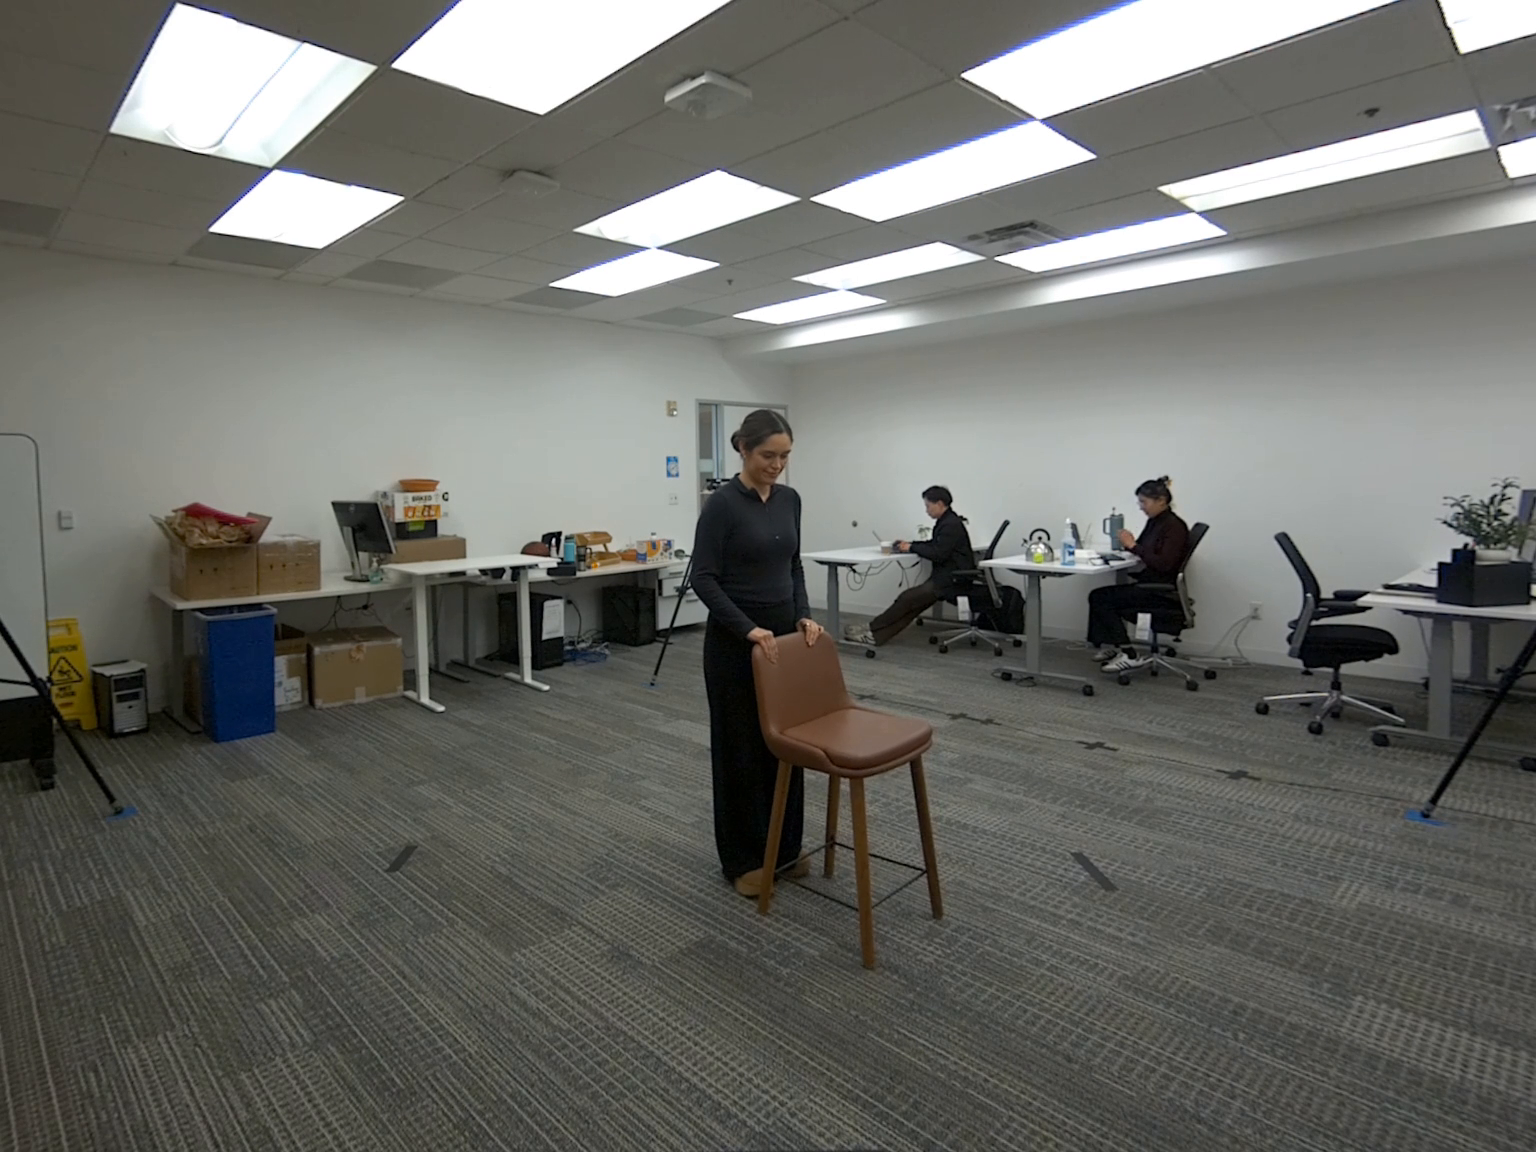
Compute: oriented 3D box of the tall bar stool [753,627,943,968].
[{"bbox_3d":[0.242,0.645,2.698,0.481,0.888,0.444,0,4,44],"label":"tall bar stool"}]
